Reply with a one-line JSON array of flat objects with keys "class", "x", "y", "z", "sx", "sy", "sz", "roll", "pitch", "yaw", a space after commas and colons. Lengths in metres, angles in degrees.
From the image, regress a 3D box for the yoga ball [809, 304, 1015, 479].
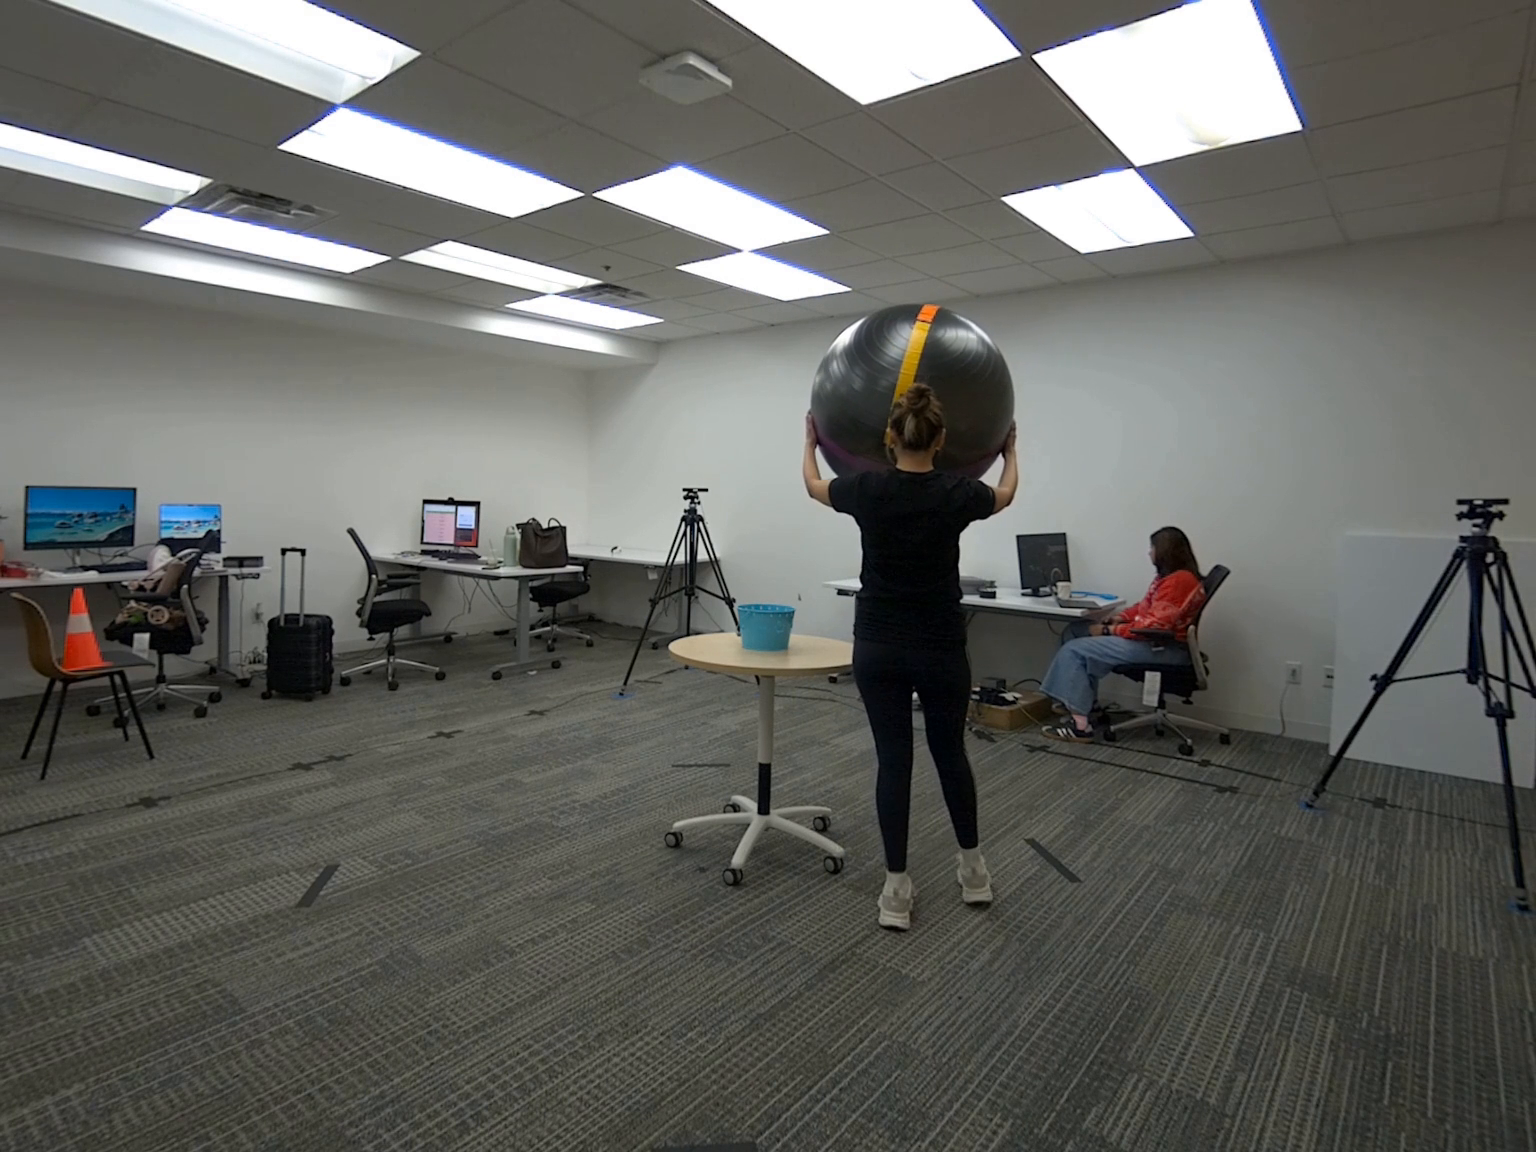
[{"class": "yoga ball", "x": 0.536, "y": -0.650, "z": 3.239, "sx": 0.757, "sy": 0.756, "sz": 0.762, "roll": 1, "pitch": 4, "yaw": -2}]
